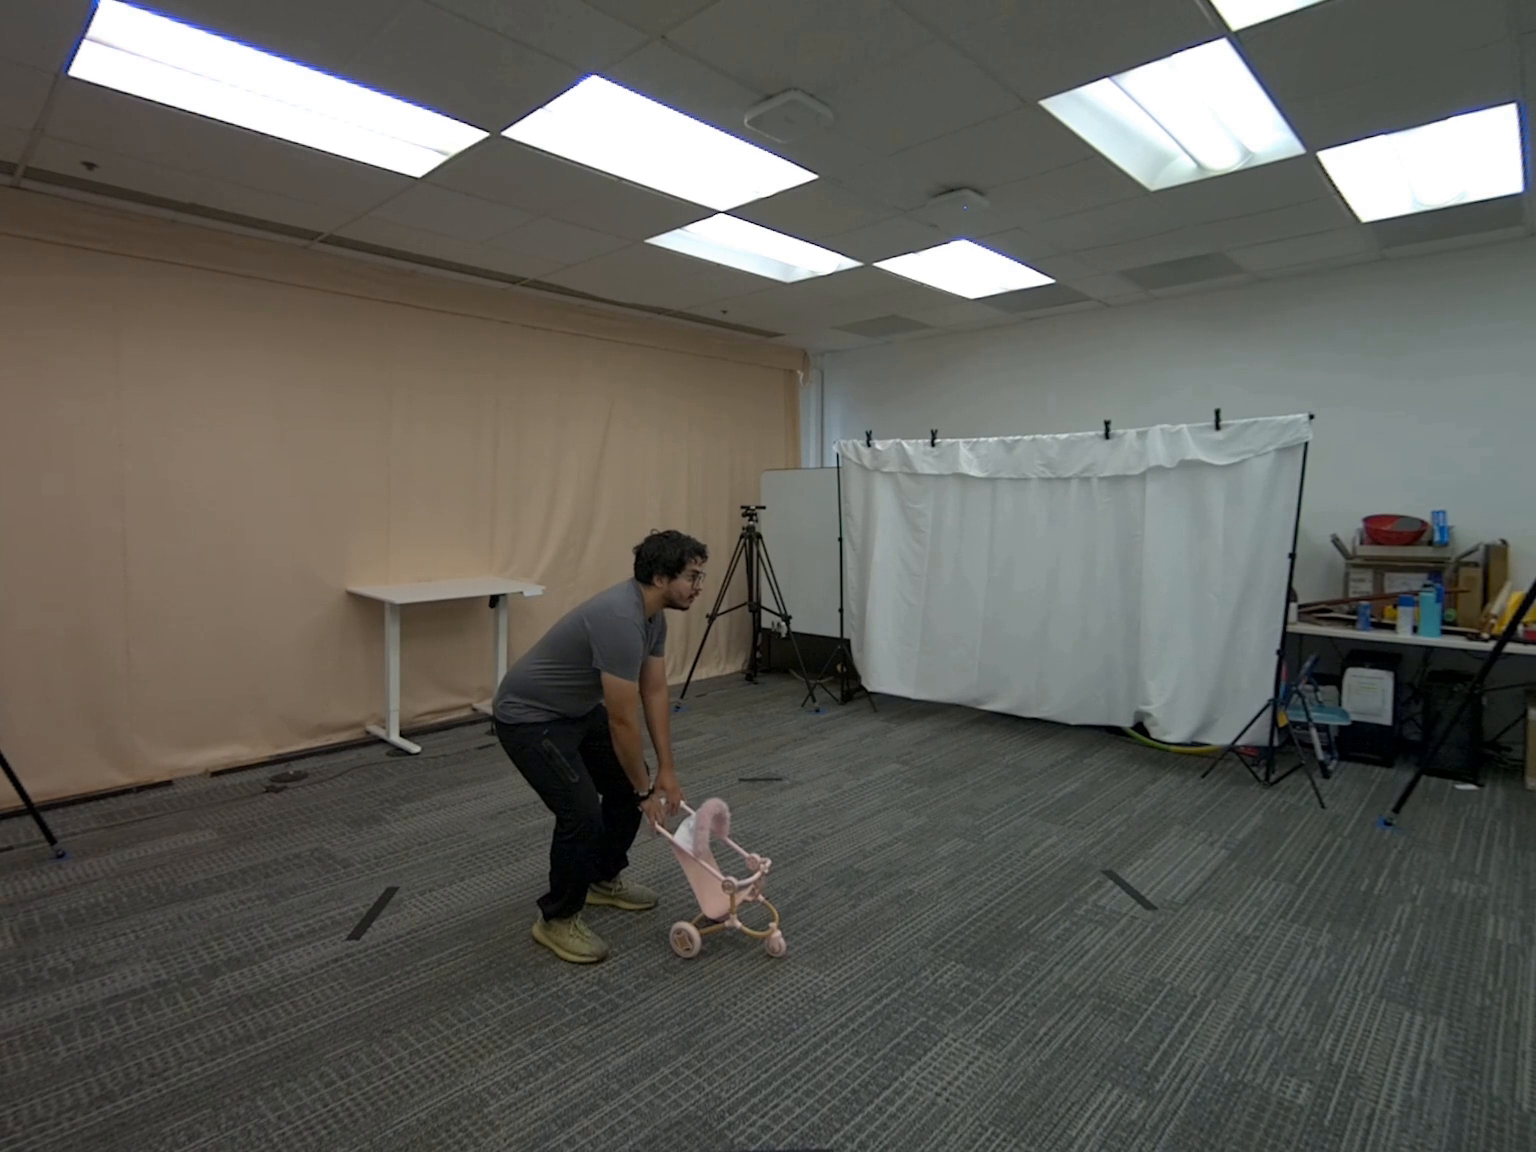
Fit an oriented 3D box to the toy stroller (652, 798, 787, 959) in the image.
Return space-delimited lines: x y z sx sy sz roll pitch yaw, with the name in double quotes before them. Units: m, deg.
"toy stroller" -0.150 0.953 2.665 0.348 0.537 0.274 -18 -5 28
